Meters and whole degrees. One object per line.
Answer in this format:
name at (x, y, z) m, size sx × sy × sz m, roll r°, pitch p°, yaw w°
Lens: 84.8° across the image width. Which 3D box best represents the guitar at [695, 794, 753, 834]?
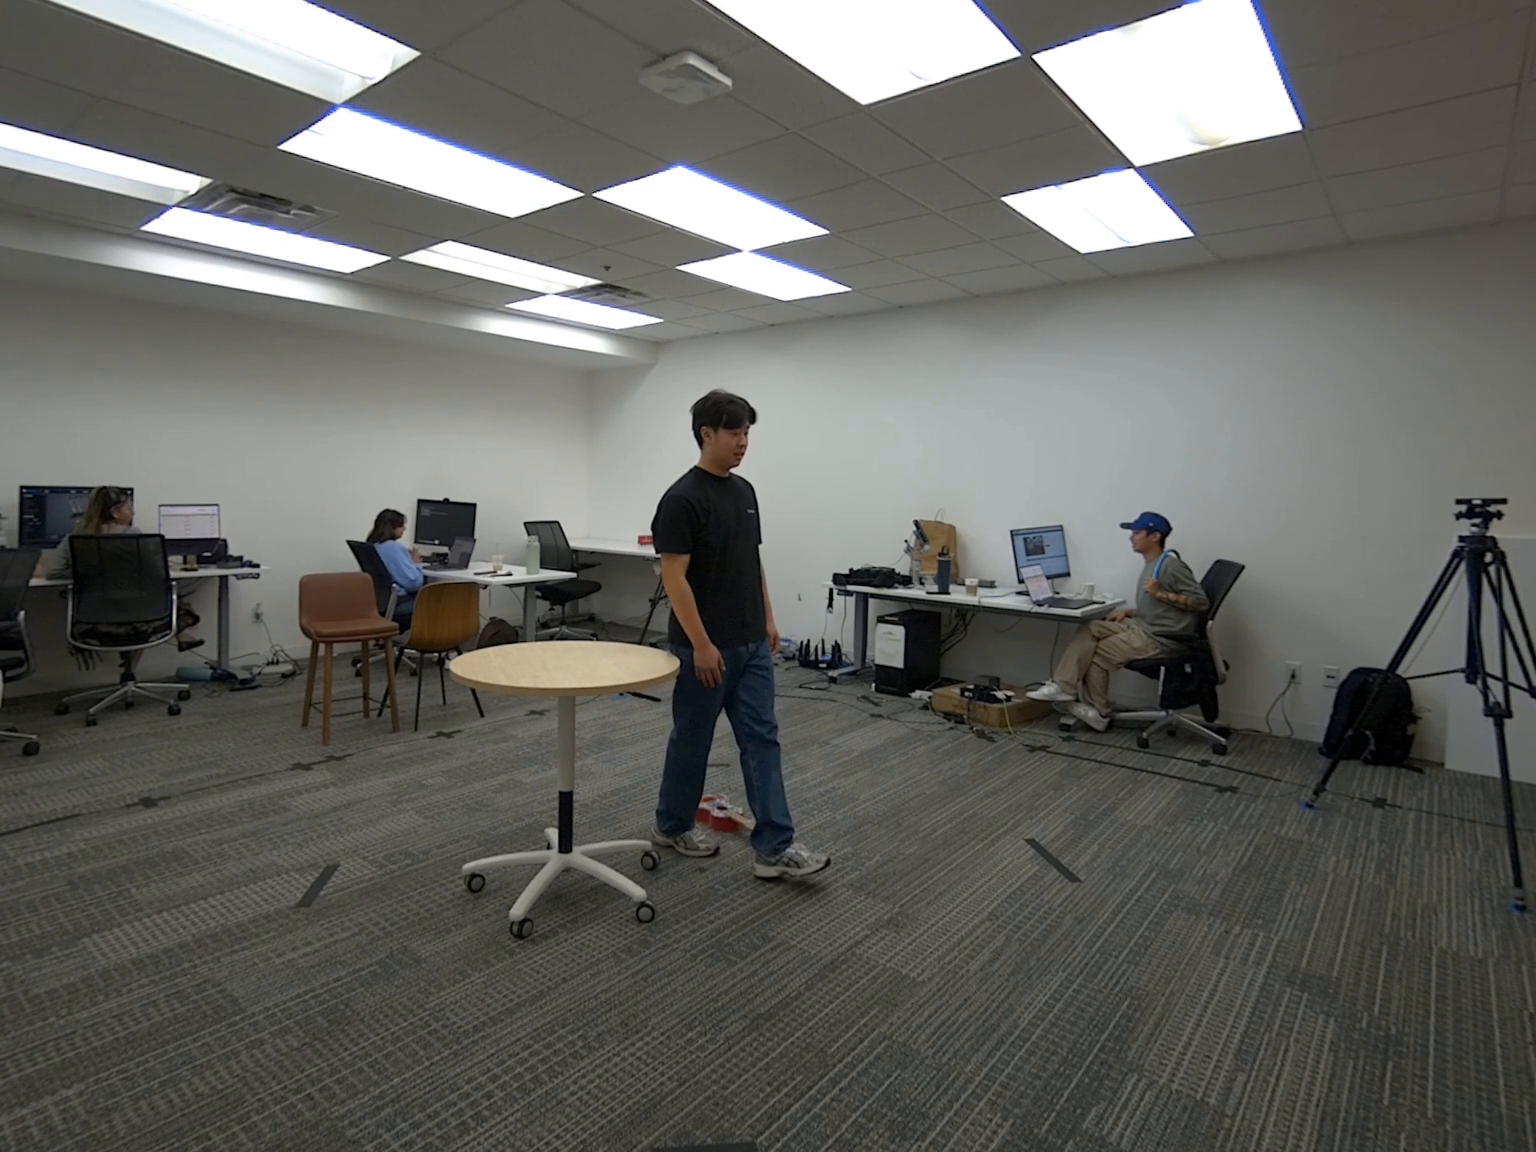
guitar at (-0.180, 0.999, 3.479) m, size 0.188 × 0.070 × 0.512 m, roll -1°, pitch 6°, yaw -28°
